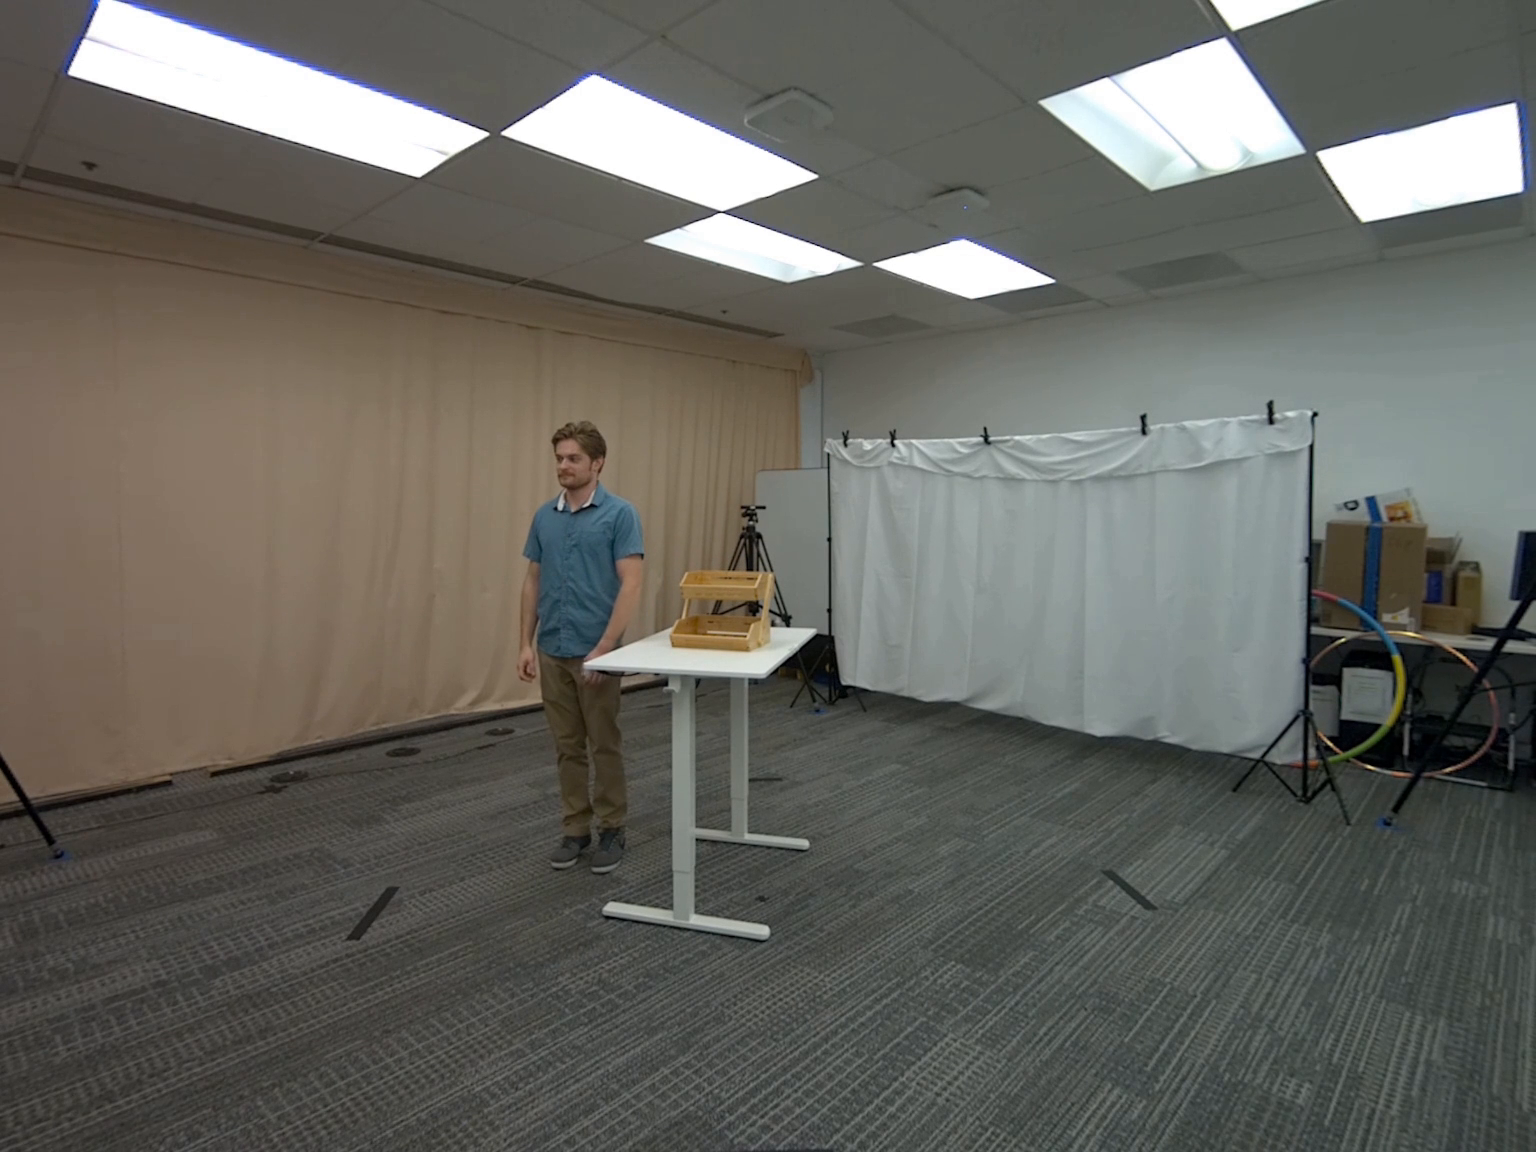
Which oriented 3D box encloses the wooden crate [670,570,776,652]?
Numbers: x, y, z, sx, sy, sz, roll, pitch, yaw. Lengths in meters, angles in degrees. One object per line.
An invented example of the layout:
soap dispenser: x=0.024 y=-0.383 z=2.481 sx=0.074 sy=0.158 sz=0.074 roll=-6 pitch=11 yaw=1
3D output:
wooden crate: x=-0.164 y=0.118 z=3.103 sx=0.331 sy=0.273 sz=0.296 roll=1 pitch=3 yaw=19
